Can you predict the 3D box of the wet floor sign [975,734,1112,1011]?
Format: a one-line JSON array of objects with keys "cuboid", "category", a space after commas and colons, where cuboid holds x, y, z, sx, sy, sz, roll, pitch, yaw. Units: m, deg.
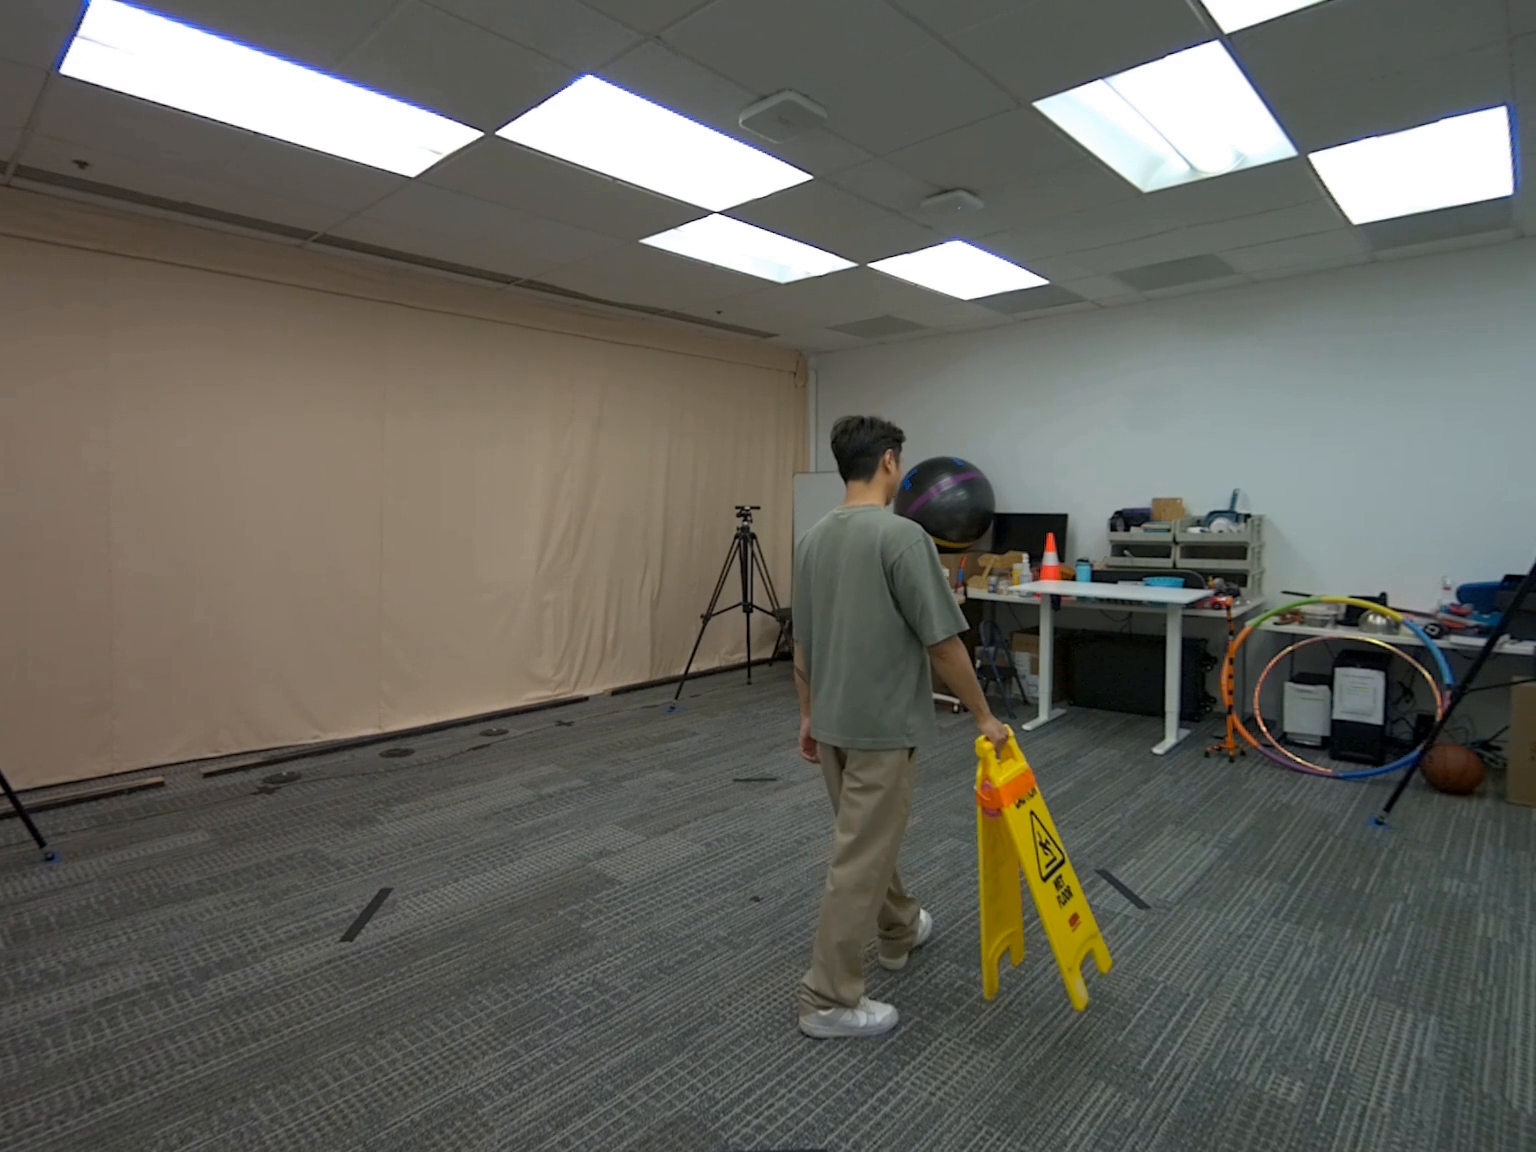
[{"cuboid": [0.651, 0.743, 2.196, 0.297, 0.649, 0.274, -15, -8, 38], "category": "wet floor sign"}]
